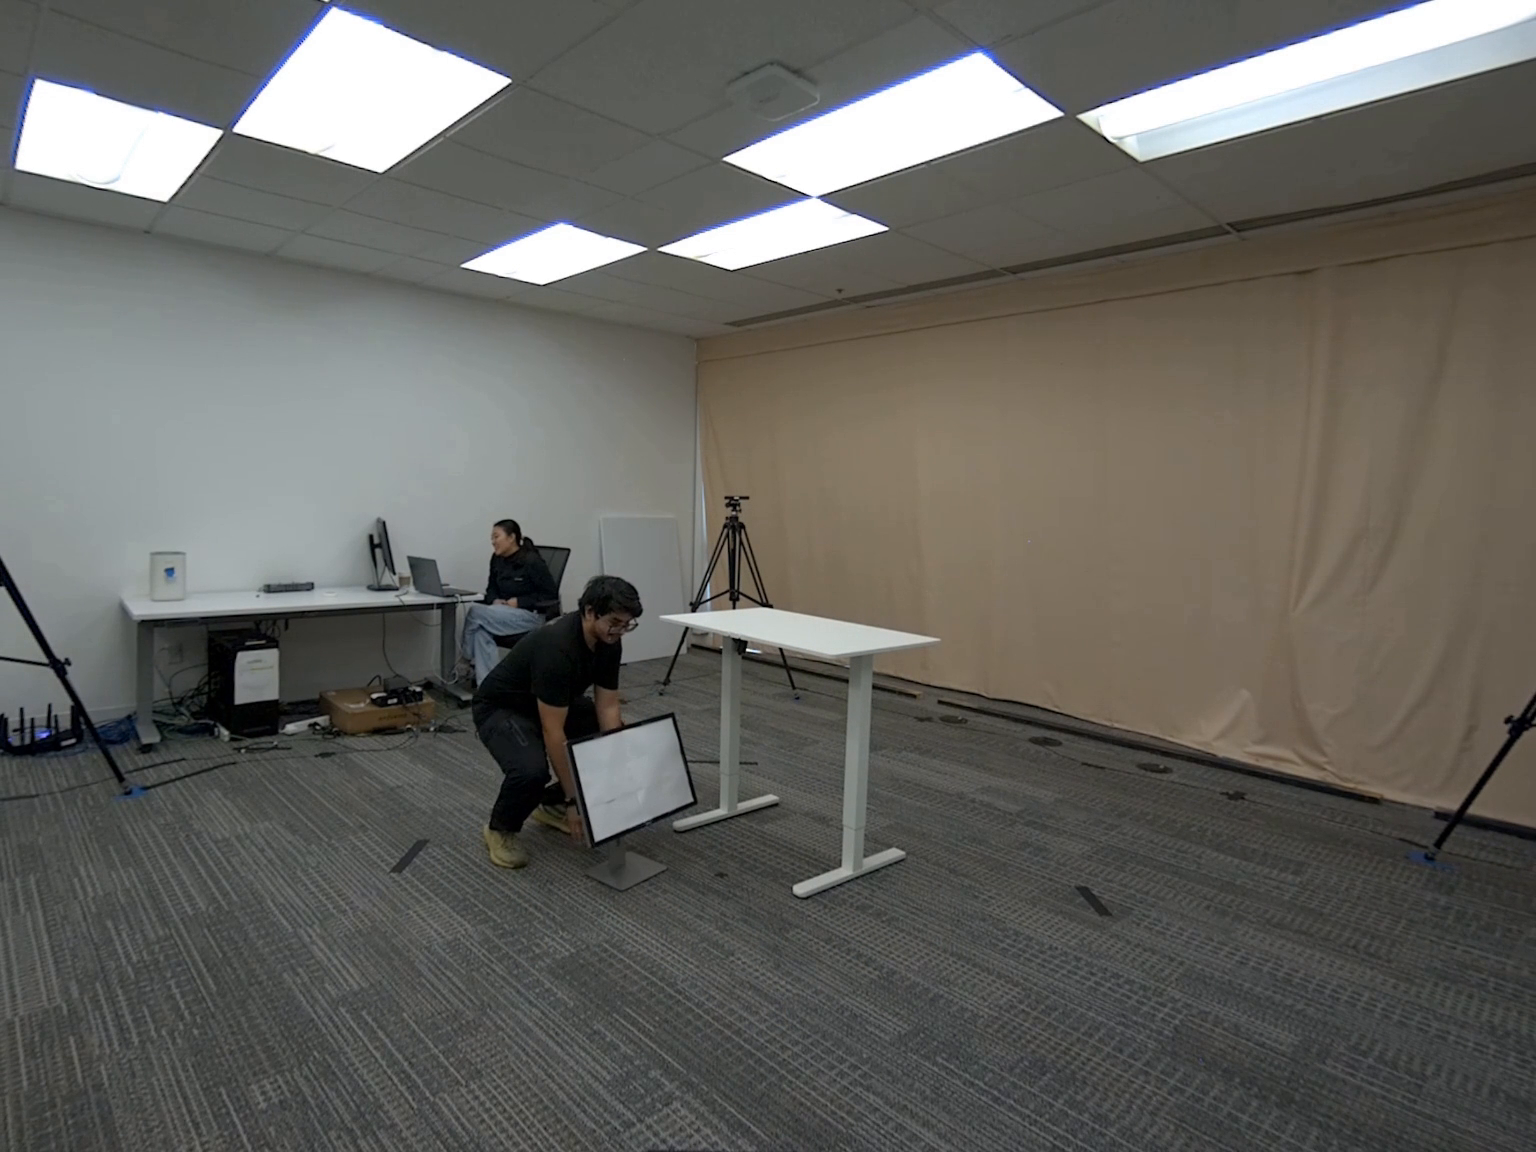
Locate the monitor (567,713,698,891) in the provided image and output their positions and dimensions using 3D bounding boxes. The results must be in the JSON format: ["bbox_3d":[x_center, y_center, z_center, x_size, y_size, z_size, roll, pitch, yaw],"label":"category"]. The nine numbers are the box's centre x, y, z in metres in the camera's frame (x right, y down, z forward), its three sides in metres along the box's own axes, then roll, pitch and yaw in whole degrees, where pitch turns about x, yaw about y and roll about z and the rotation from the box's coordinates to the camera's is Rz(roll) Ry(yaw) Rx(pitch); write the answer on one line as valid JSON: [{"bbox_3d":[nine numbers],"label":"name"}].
[{"bbox_3d":[-0.548,0.828,3.111,0.214,0.555,0.553,-9,-3,36],"label":"monitor"}]
